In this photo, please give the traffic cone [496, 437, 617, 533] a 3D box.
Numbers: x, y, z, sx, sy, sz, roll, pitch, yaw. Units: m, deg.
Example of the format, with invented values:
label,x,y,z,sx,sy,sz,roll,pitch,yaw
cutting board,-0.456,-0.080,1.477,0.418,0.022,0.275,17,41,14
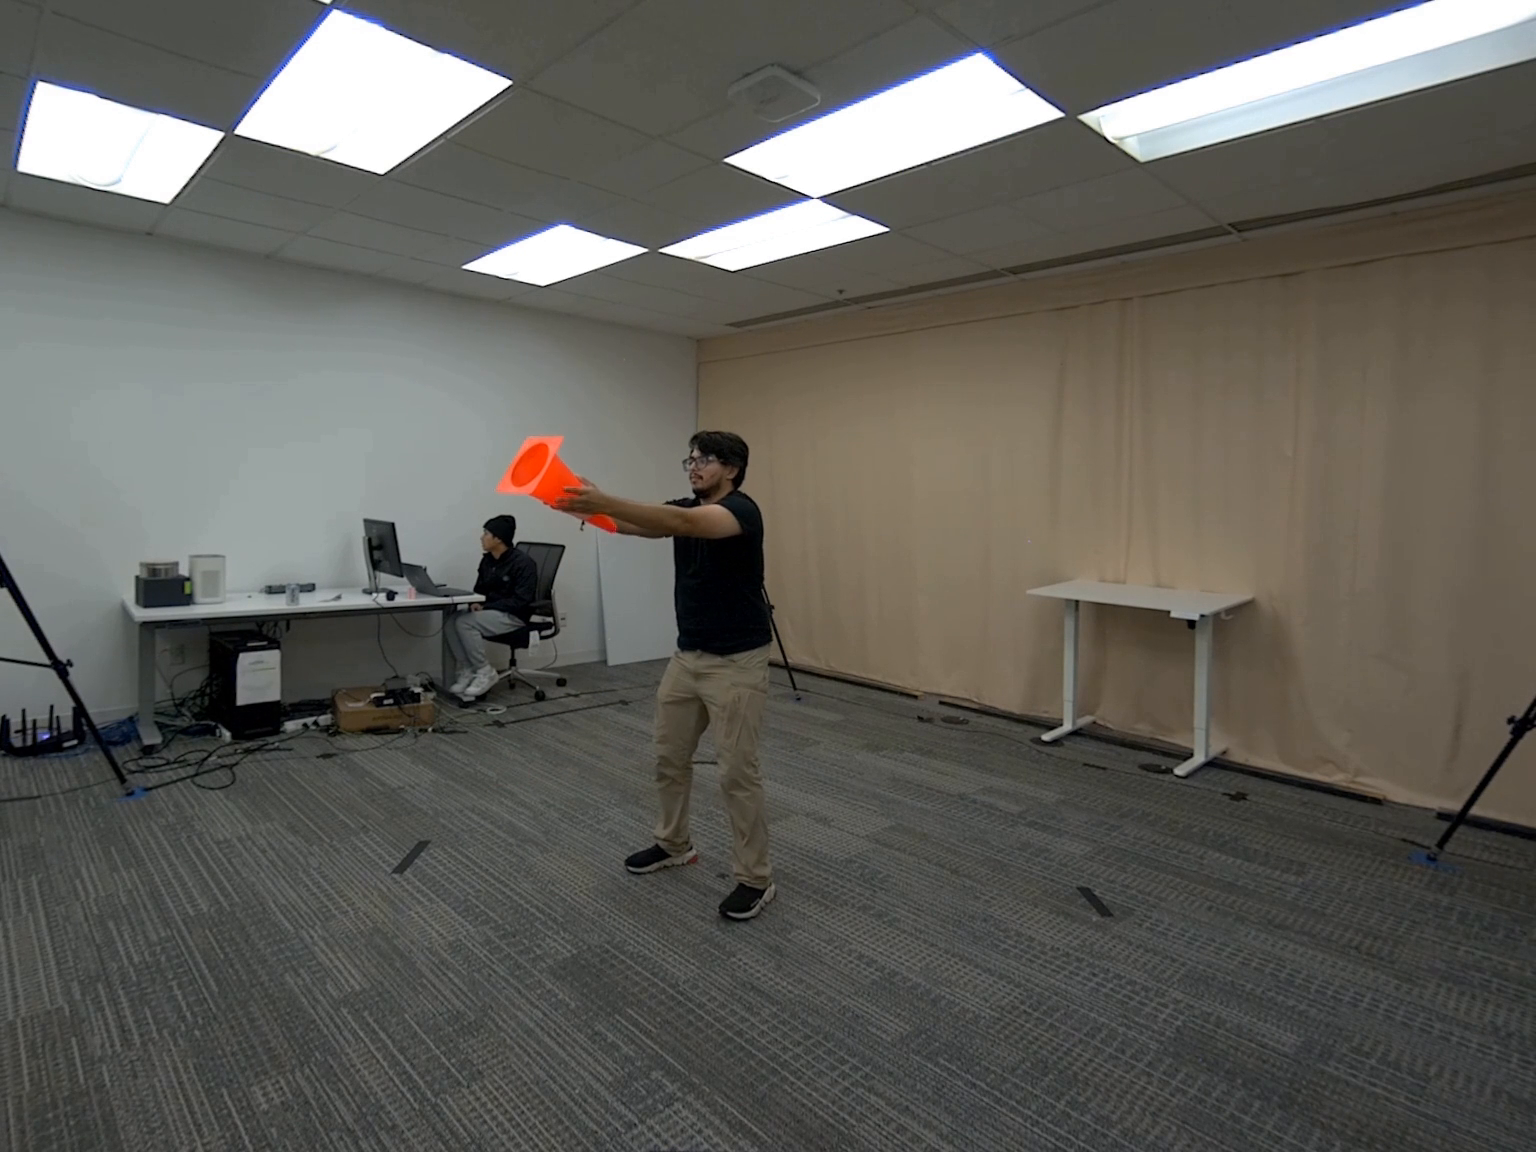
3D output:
label,x,y,z,sx,sy,sz,roll,pitch,yaw
traffic cone,-0.608,-0.223,2.579,0.210,0.205,0.371,5,-27,42
